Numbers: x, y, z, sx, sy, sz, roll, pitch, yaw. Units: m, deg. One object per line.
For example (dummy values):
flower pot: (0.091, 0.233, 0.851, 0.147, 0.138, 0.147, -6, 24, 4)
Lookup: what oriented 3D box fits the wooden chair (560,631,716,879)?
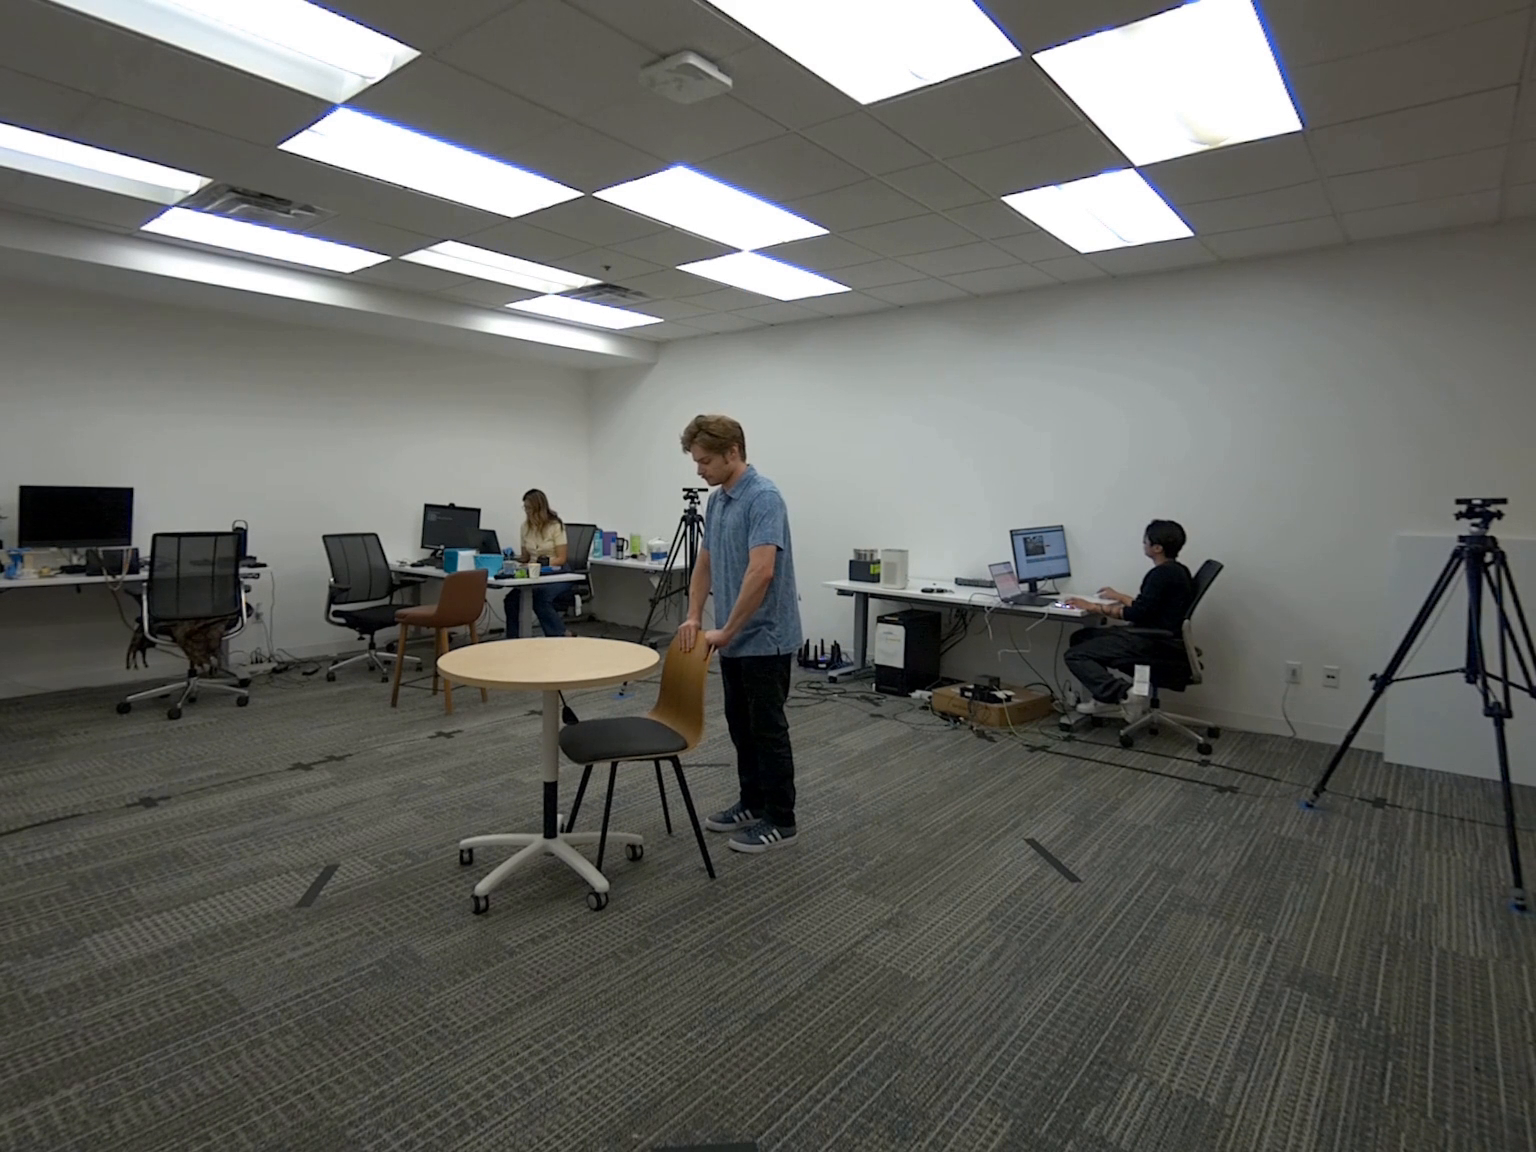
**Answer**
wooden chair: (-0.498, 0.636, 3.118, 0.510, 0.876, 0.491, 3, 2, -26)
